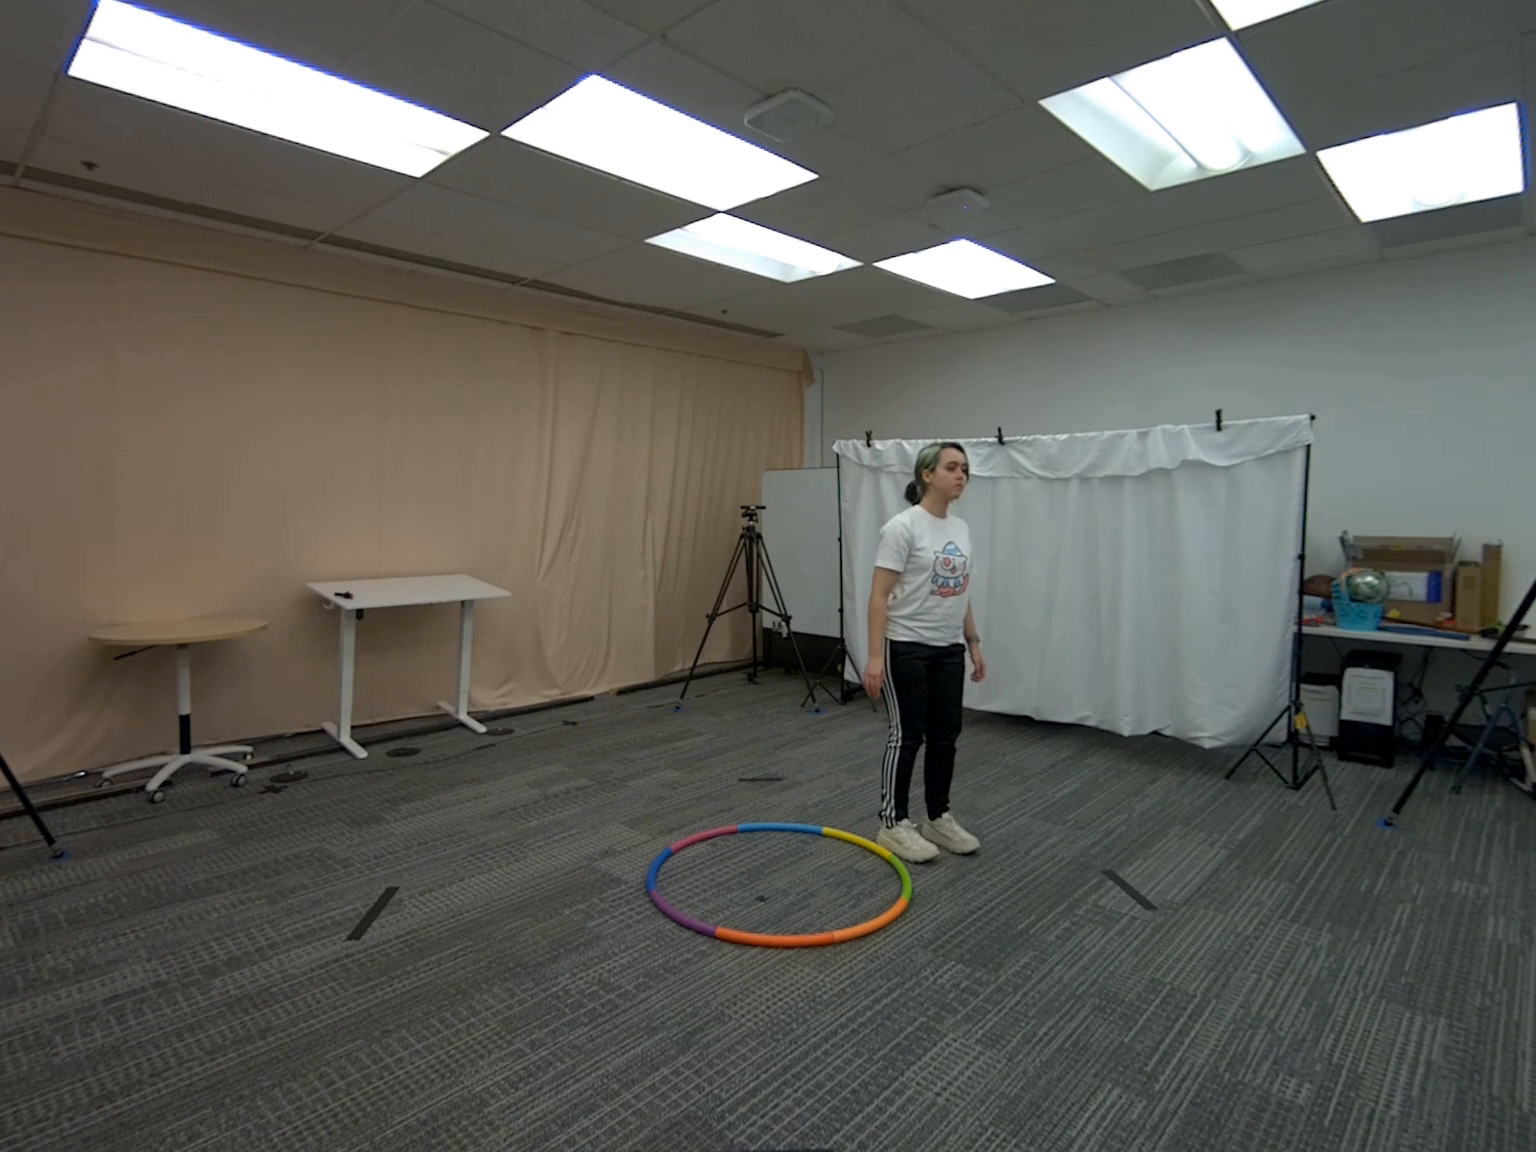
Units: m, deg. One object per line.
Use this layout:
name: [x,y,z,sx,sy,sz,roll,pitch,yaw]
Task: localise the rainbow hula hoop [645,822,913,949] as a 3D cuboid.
rainbow hula hoop: [0.038,1.099,3.136,0.978,0.035,0.982,0,5,-2]
